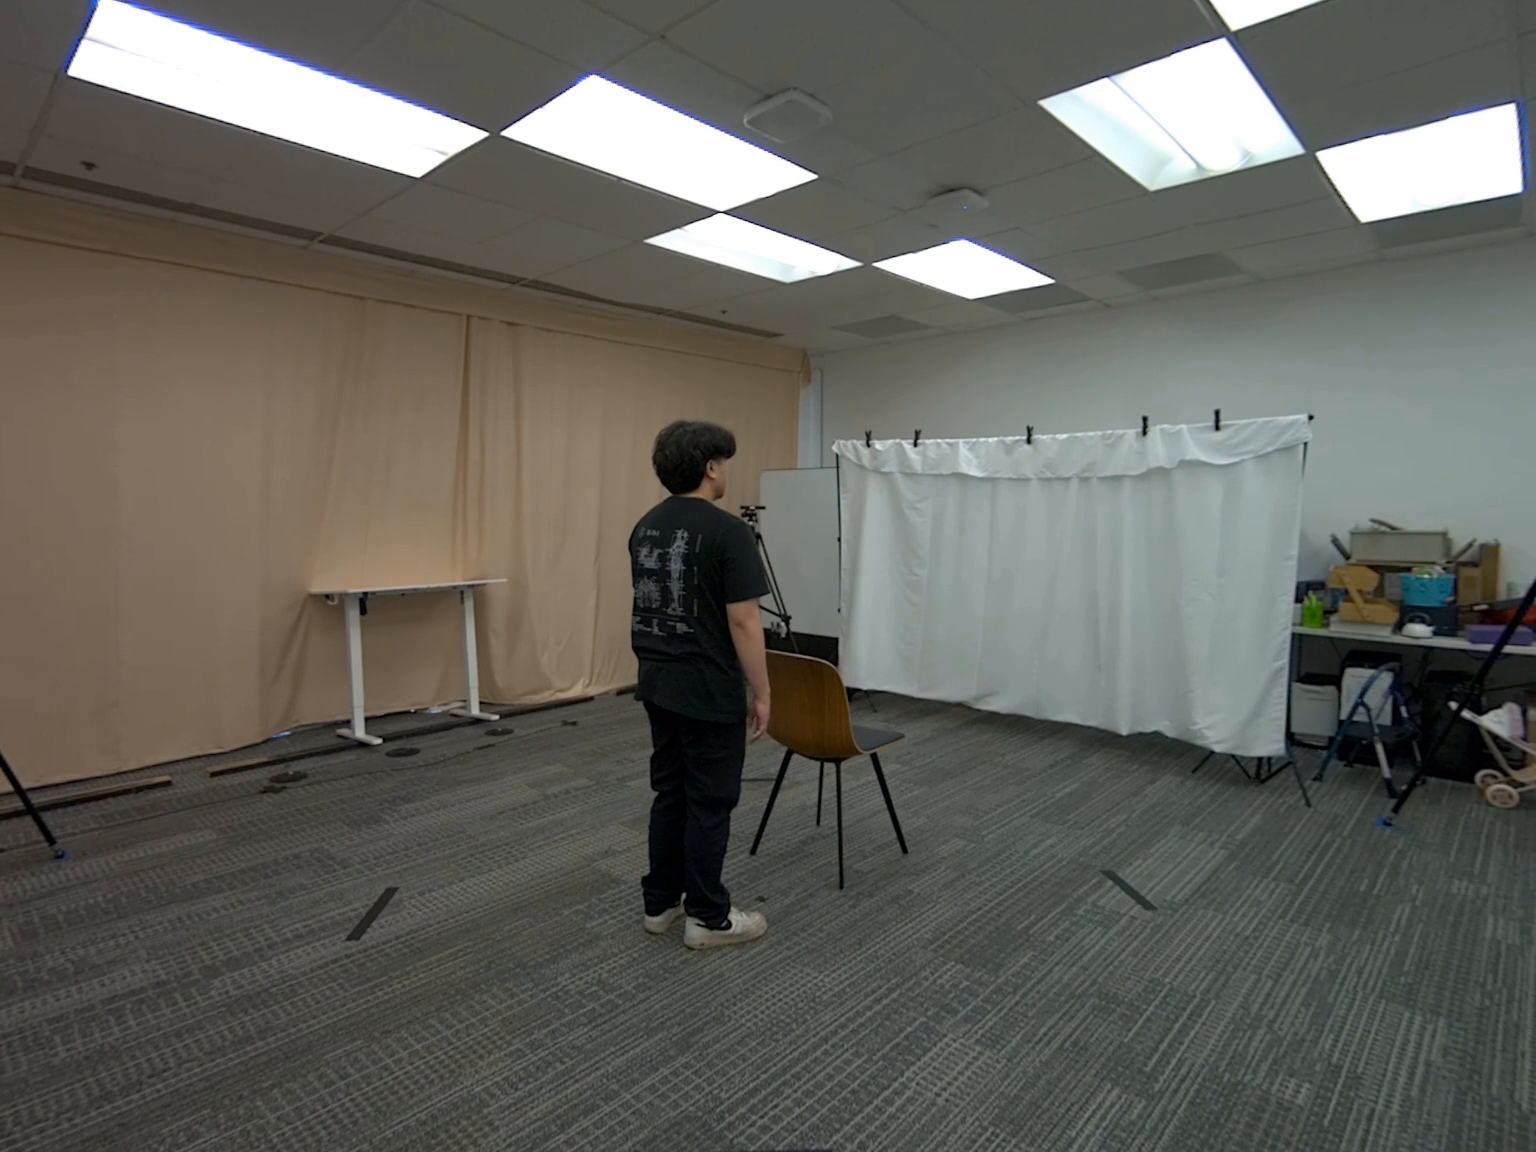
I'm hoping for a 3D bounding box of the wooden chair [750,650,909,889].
[{"bbox_3d":[0.254,0.686,3.345,0.494,0.874,0.508,3,8,42],"label":"wooden chair"}]
